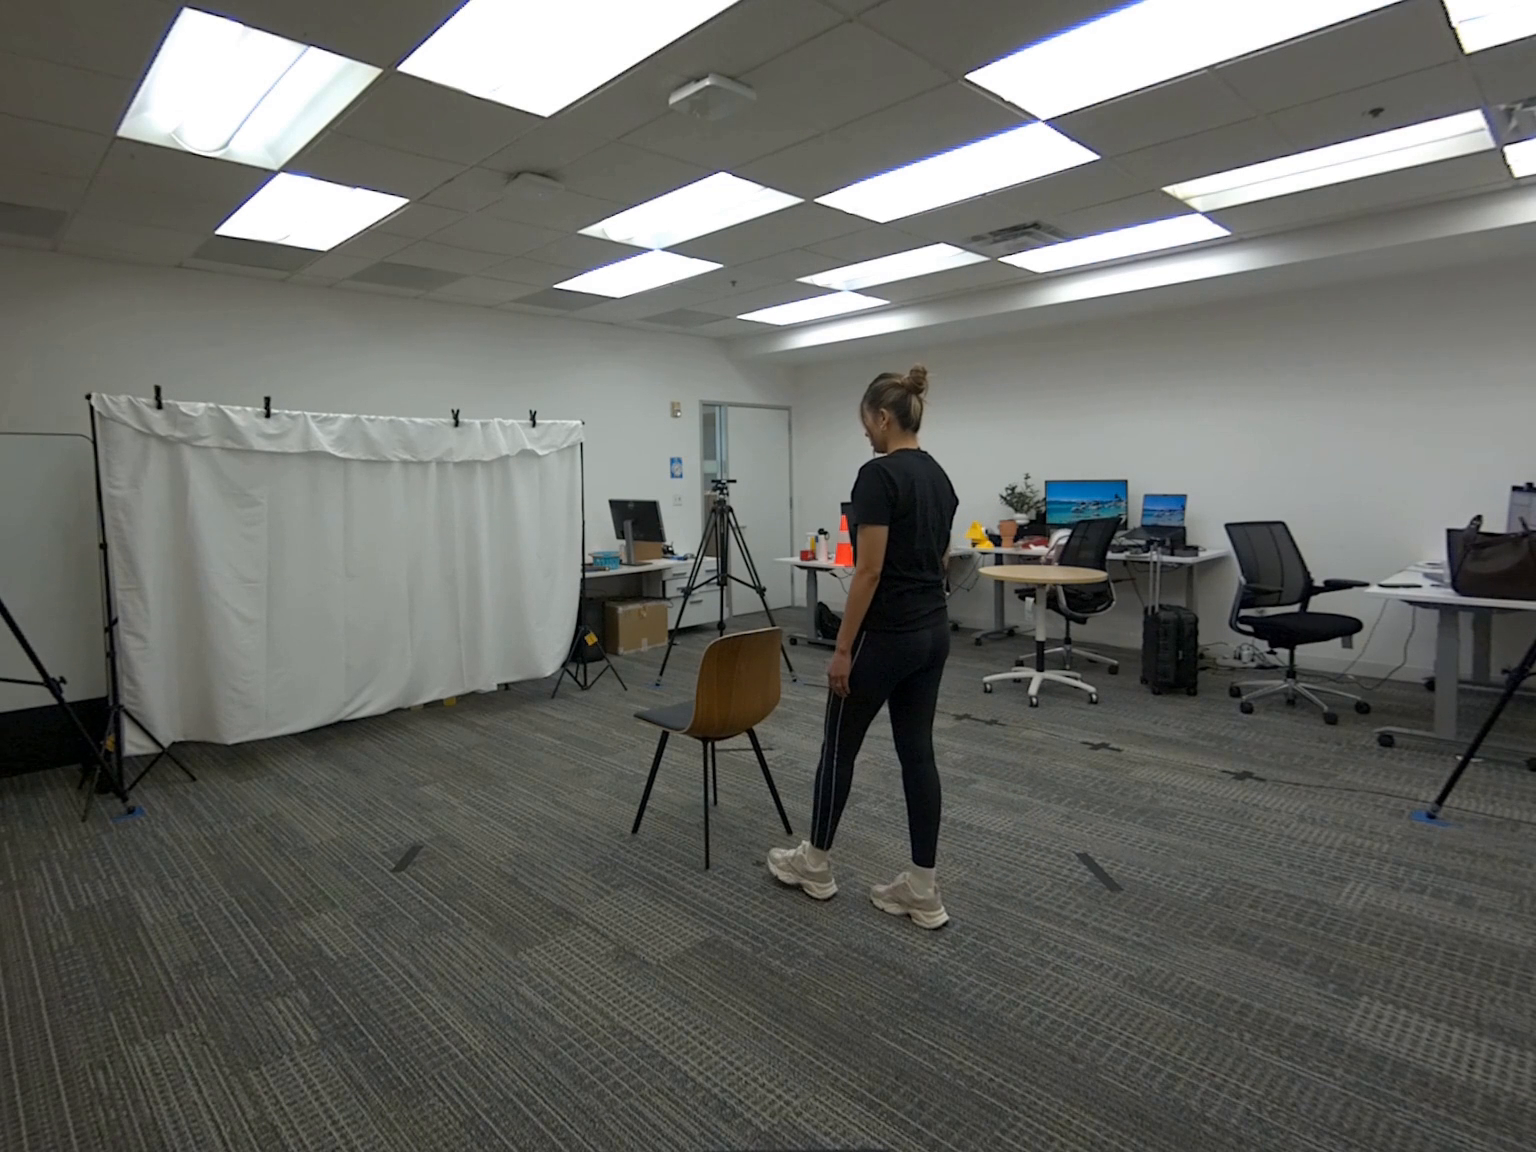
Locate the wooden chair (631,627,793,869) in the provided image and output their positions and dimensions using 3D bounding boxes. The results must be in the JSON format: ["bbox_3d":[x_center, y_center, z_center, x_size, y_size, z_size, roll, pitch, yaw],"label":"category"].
[{"bbox_3d":[-0.235,0.595,3.353,0.465,0.872,0.540,-5,10,-44],"label":"wooden chair"}]
